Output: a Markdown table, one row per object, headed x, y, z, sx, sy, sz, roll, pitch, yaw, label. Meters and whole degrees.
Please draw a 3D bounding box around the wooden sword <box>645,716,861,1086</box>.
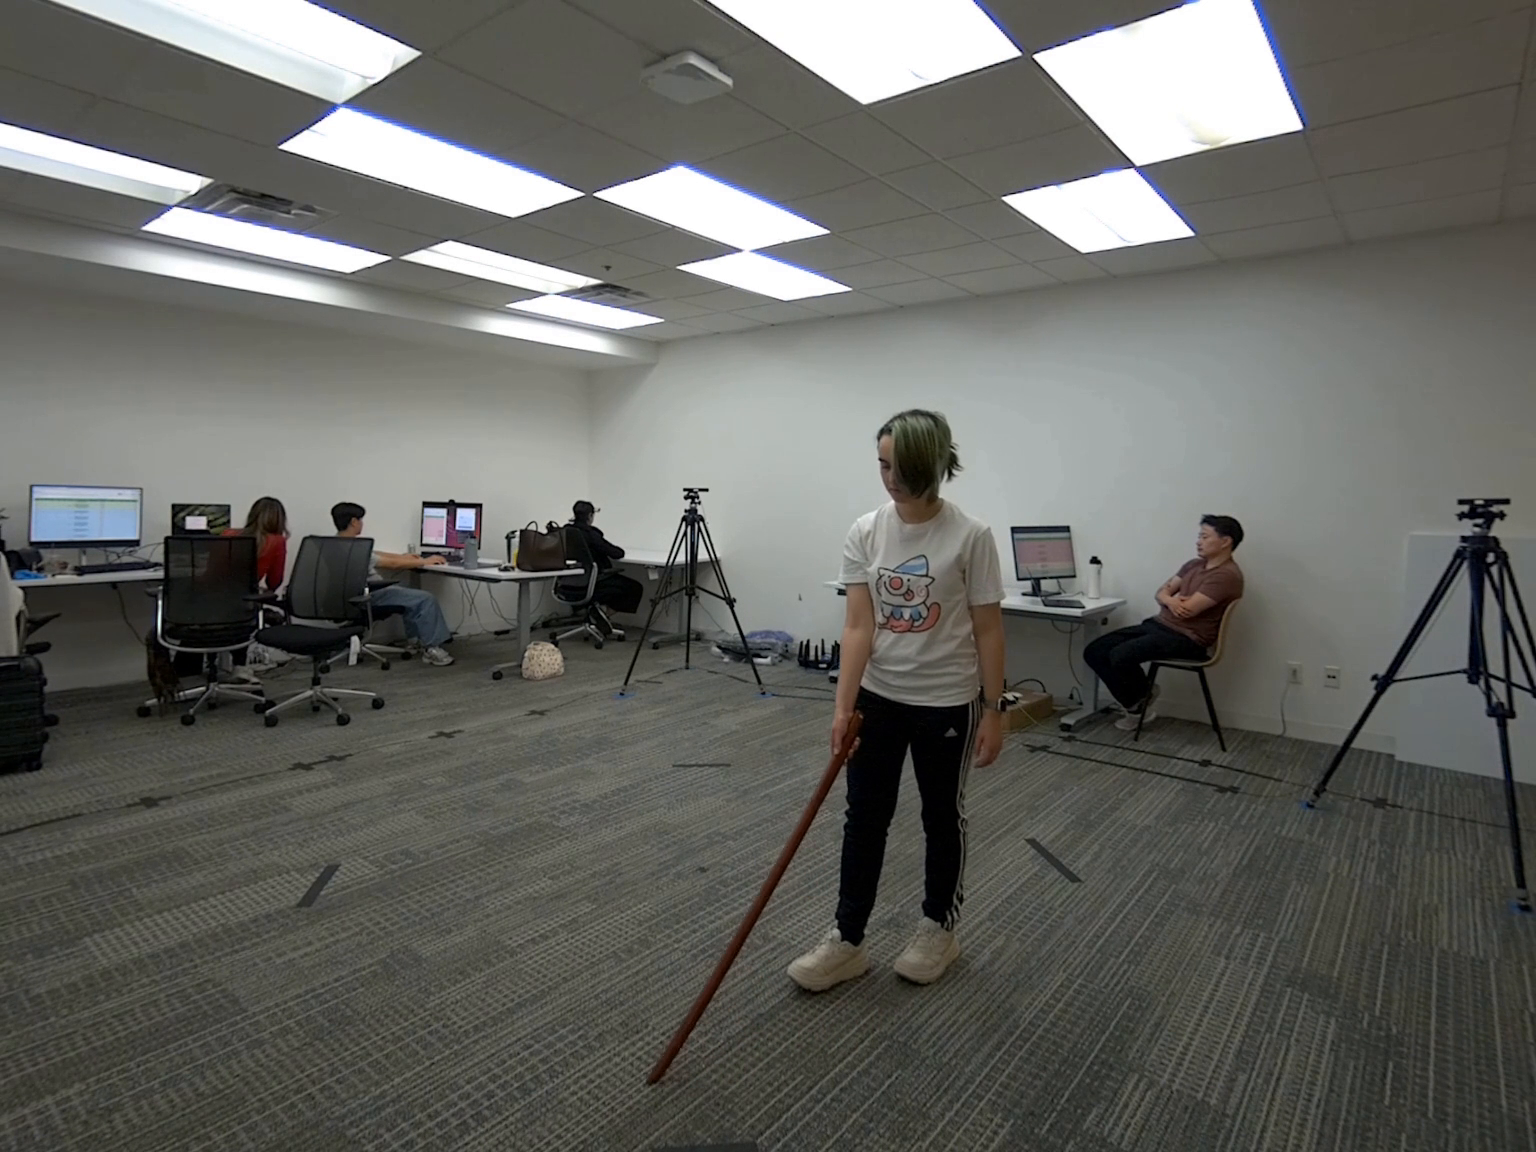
| x | y | z | sx | sy | sz | roll | pitch | yaw | label |
| --- | --- | --- | --- | --- | --- | --- | --- | --- | --- |
| 0.000 | 0.811 | 2.161 | 0.025 | 1.026 | 0.049 | 11 | -33 | 50 | wooden sword |
